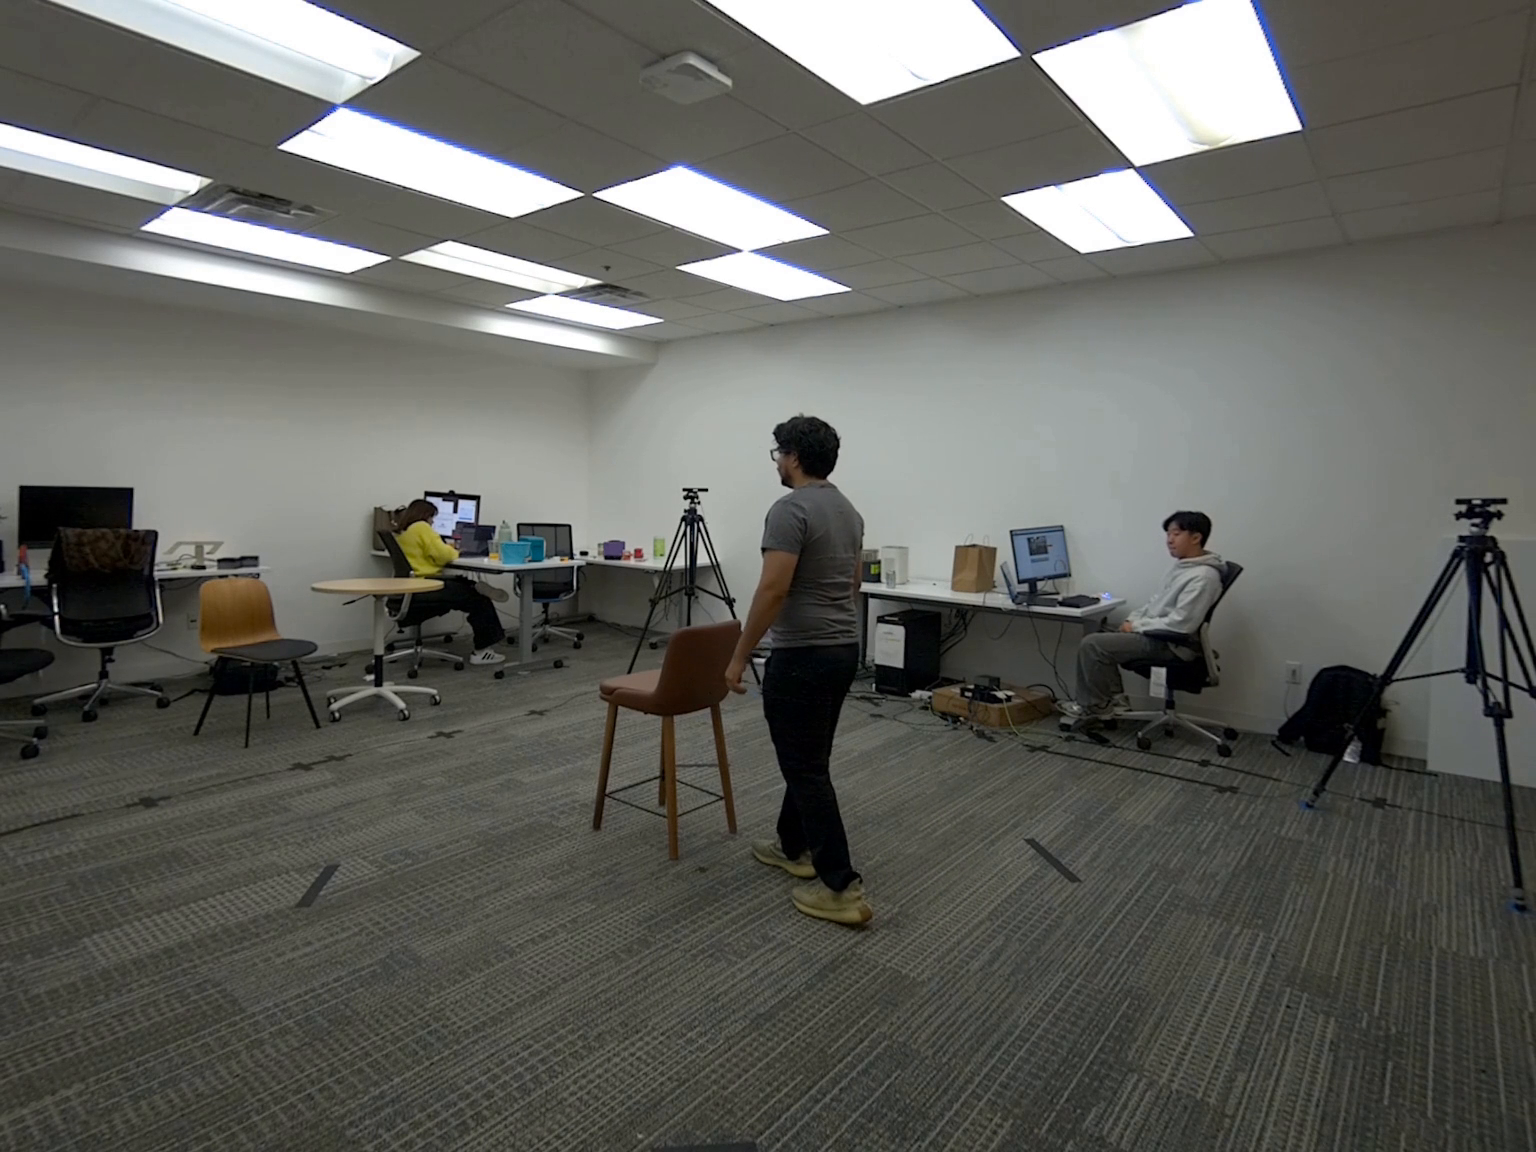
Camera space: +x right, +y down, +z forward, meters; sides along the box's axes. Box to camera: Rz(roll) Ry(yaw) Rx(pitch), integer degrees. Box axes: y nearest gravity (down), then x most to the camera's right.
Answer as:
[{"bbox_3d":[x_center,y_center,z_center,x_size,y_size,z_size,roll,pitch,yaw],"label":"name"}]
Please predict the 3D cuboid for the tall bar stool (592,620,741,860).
[{"bbox_3d":[-0.414,0.600,3.443,0.484,0.887,0.443,6,5,39],"label":"tall bar stool"}]
